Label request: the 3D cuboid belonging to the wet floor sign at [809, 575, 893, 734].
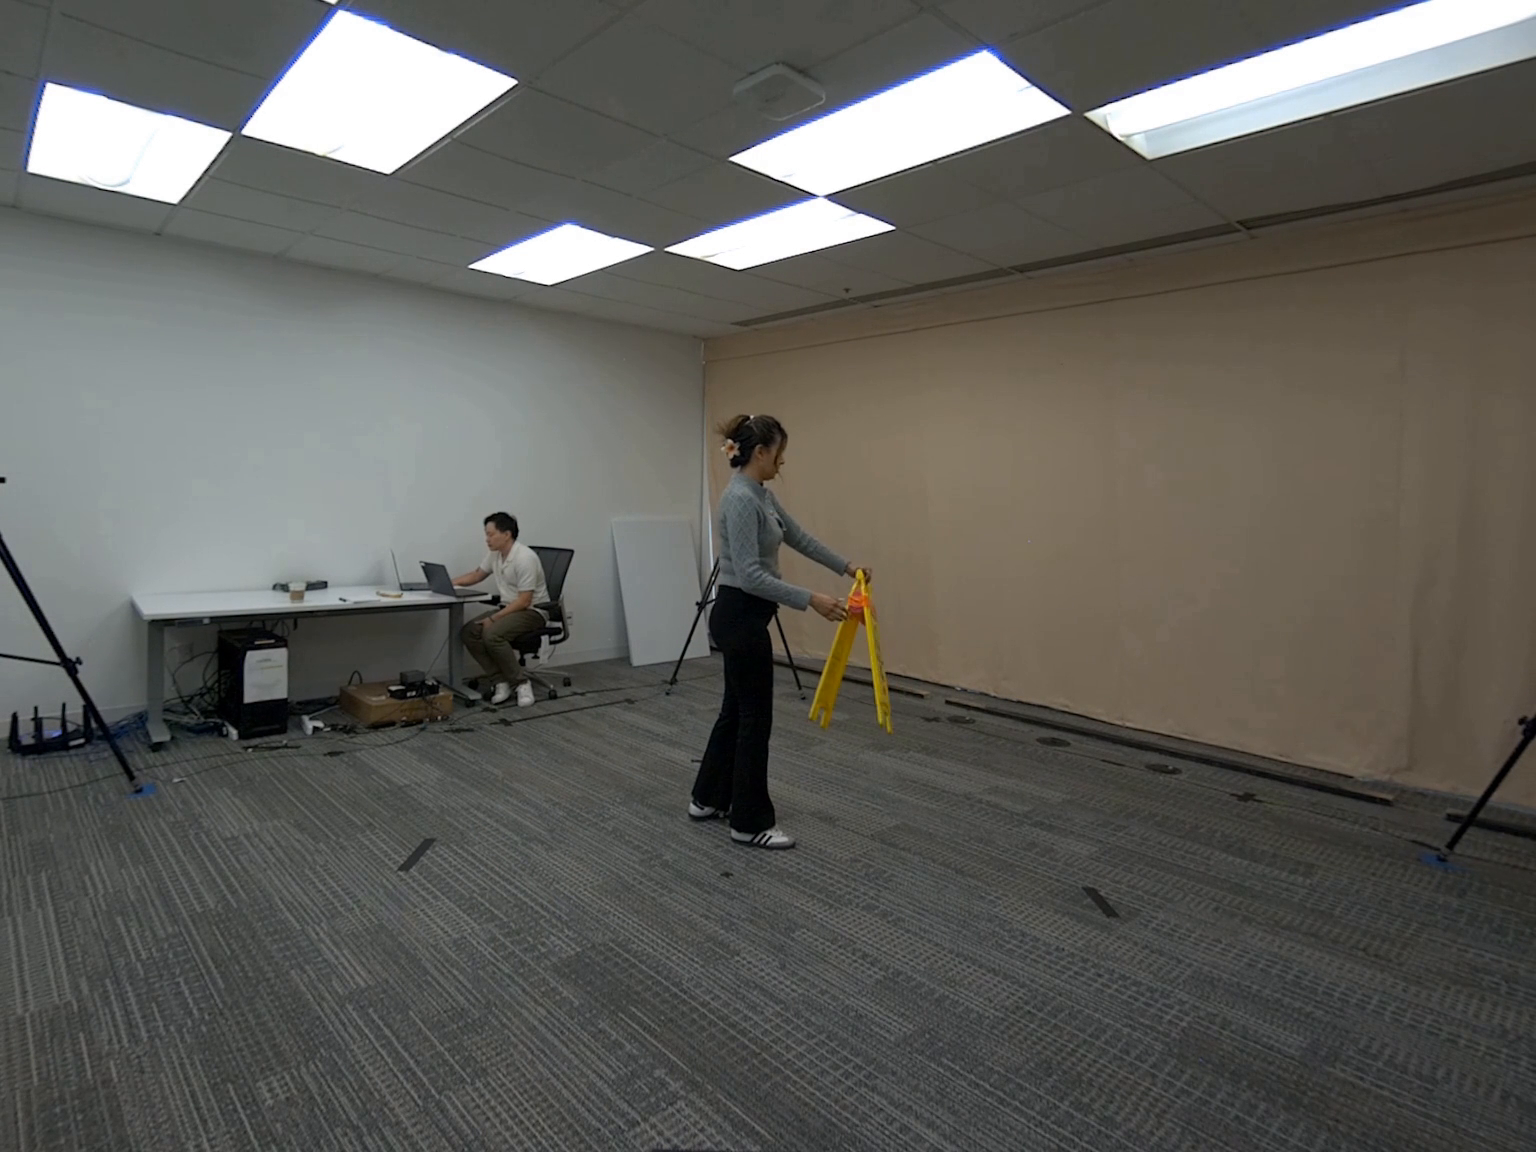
[{"bbox_3d":[0.374,0.299,3.498,0.294,0.653,0.275,2,-18,19],"label":"wet floor sign"}]
